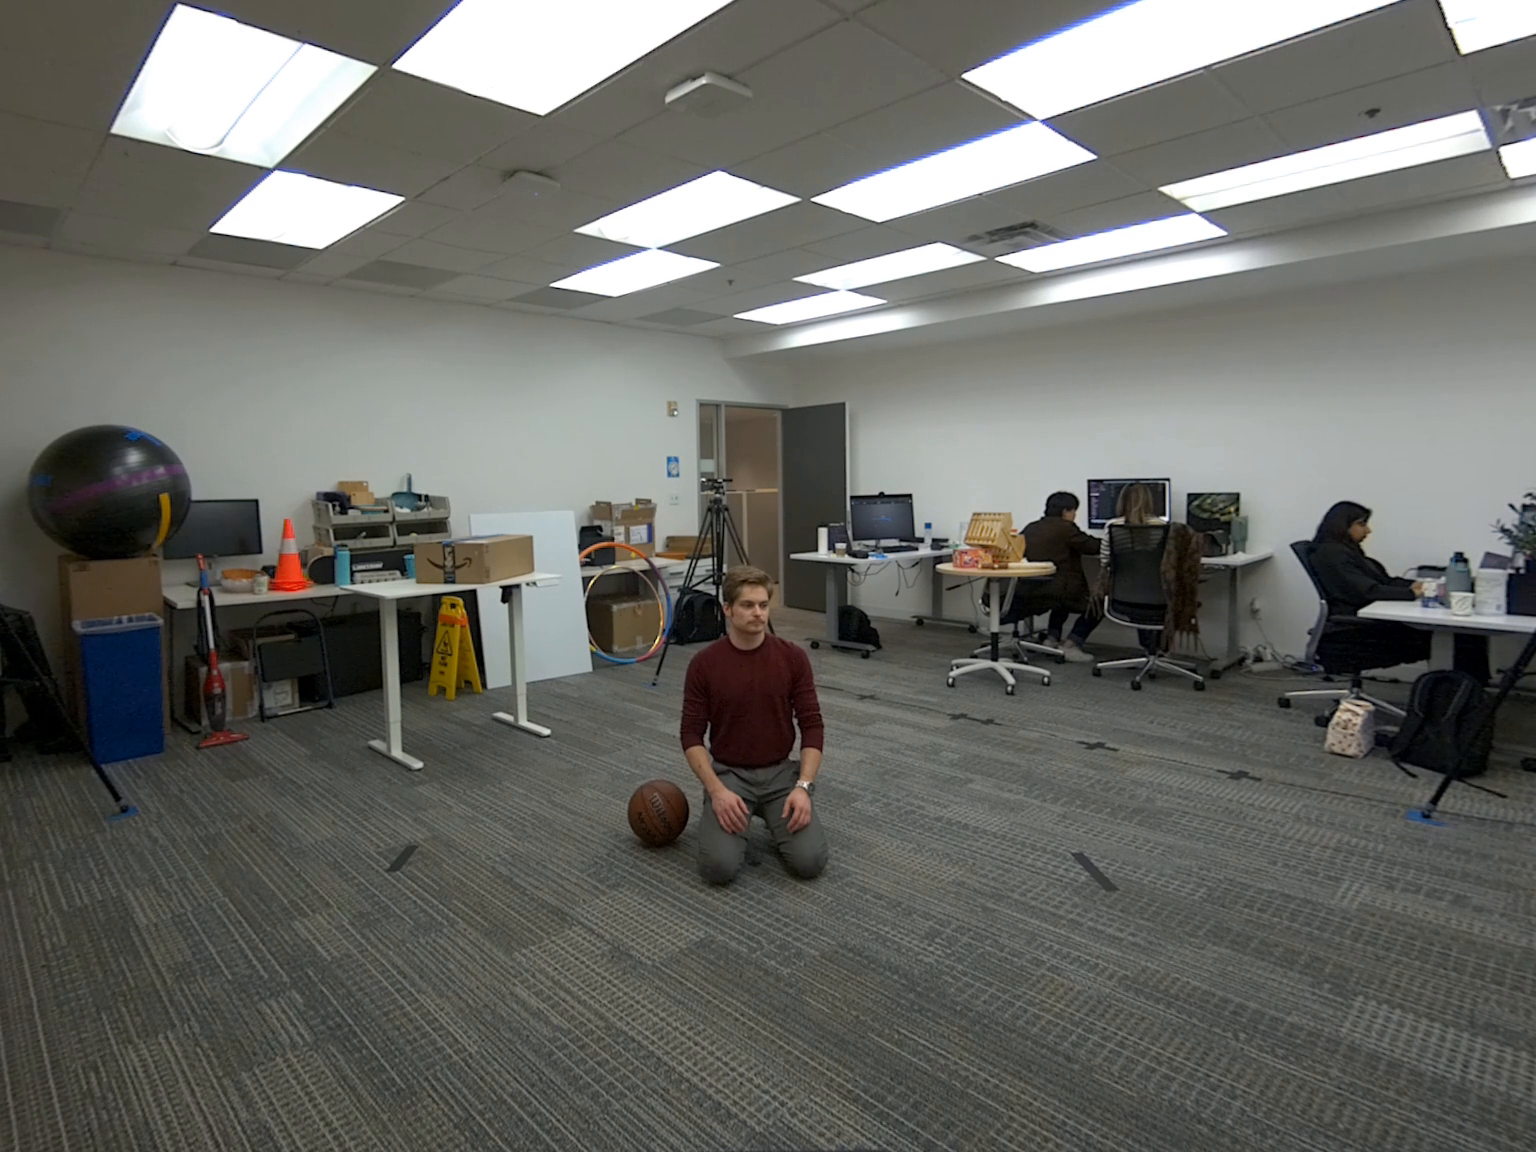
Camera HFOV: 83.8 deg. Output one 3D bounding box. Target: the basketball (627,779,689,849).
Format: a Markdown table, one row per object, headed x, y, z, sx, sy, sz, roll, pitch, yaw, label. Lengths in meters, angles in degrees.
| x | y | z | sx | sy | sz | roll | pitch | yaw | label |
| --- | --- | --- | --- | --- | --- | --- | --- | --- | --- |
| -0.421 | 0.904 | 3.303 | 0.236 | 0.235 | 0.237 | -1 | 5 | -2 | basketball |
